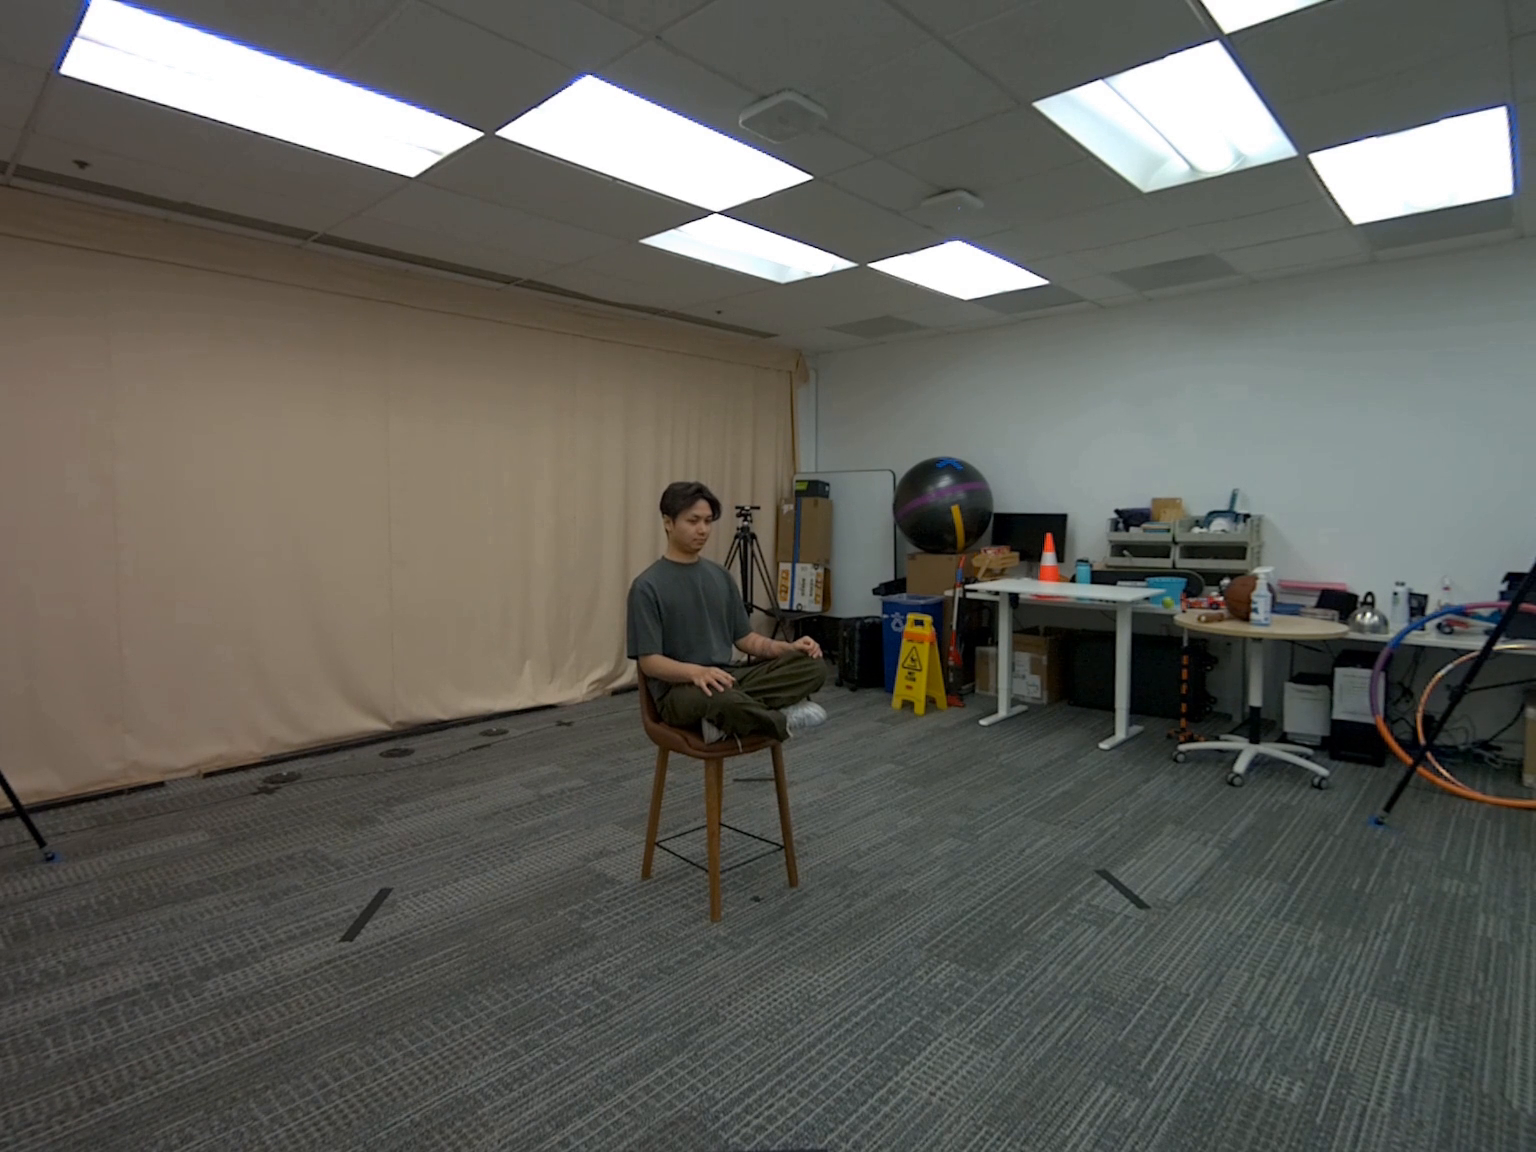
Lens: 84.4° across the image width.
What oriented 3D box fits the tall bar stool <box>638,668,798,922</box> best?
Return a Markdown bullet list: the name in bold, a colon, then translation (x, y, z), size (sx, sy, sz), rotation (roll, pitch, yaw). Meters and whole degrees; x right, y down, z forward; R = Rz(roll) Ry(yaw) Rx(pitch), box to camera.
- **tall bar stool**: translation (-0.196, 0.700, 3.102), size (0.442, 0.889, 0.482), rotation (-4, 2, -43)
